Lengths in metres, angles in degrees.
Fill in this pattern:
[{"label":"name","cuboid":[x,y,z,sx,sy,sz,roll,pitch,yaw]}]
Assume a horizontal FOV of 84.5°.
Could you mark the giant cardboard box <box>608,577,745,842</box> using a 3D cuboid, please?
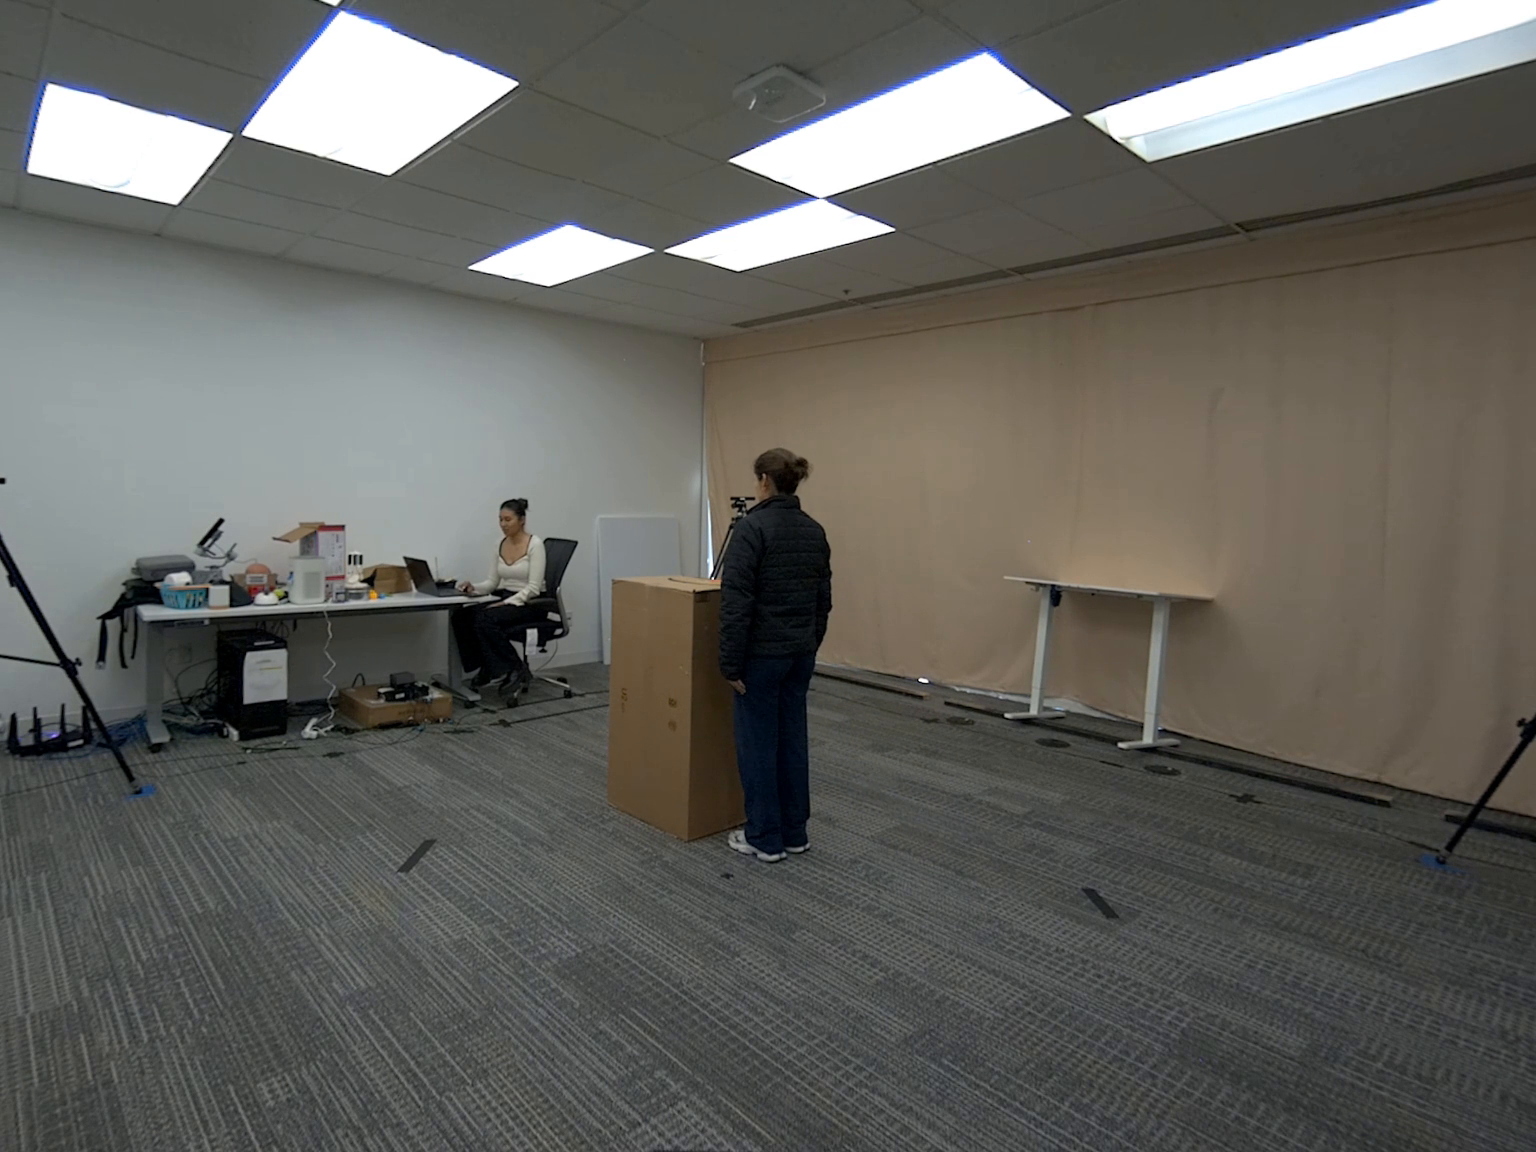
[{"label":"giant cardboard box","cuboid":[-0.373,0.538,3.716,0.436,1.025,0.599,0,4,-43]}]
